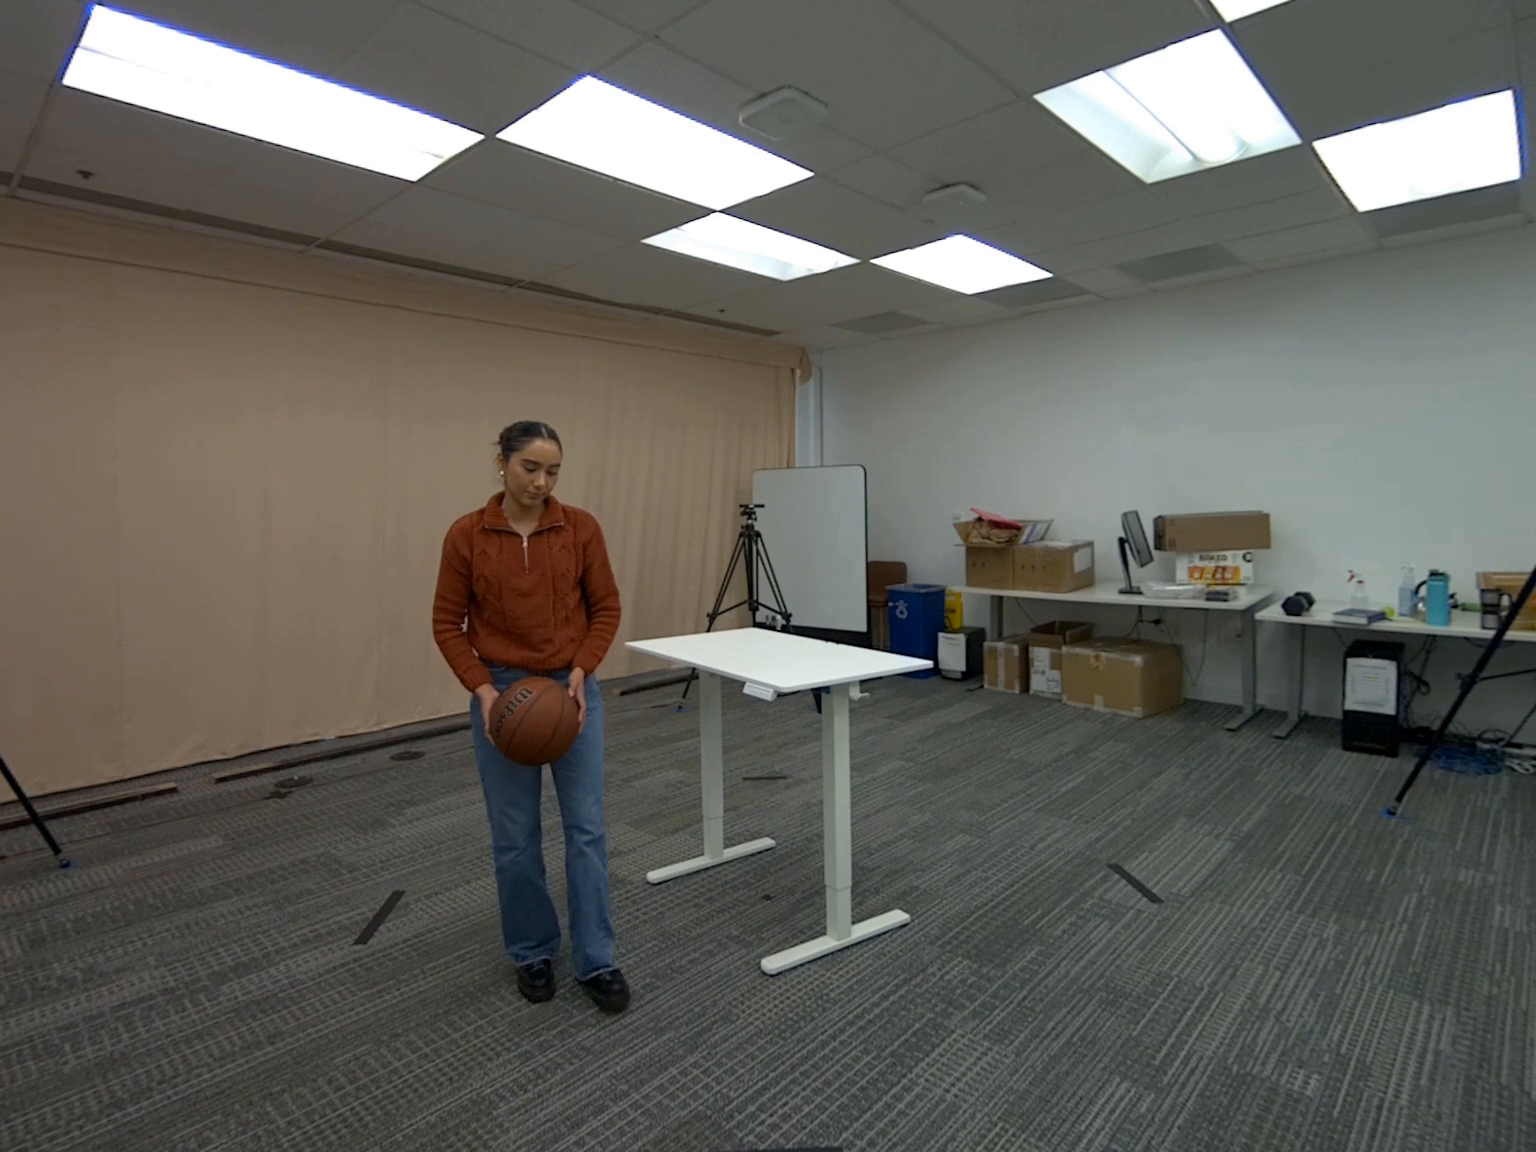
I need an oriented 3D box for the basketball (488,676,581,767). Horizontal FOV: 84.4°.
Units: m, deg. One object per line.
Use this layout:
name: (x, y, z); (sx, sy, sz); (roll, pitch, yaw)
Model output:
basketball: (-0.613, 0.383, 2.263); (0.236, 0.235, 0.237); (-1, 4, -2)
